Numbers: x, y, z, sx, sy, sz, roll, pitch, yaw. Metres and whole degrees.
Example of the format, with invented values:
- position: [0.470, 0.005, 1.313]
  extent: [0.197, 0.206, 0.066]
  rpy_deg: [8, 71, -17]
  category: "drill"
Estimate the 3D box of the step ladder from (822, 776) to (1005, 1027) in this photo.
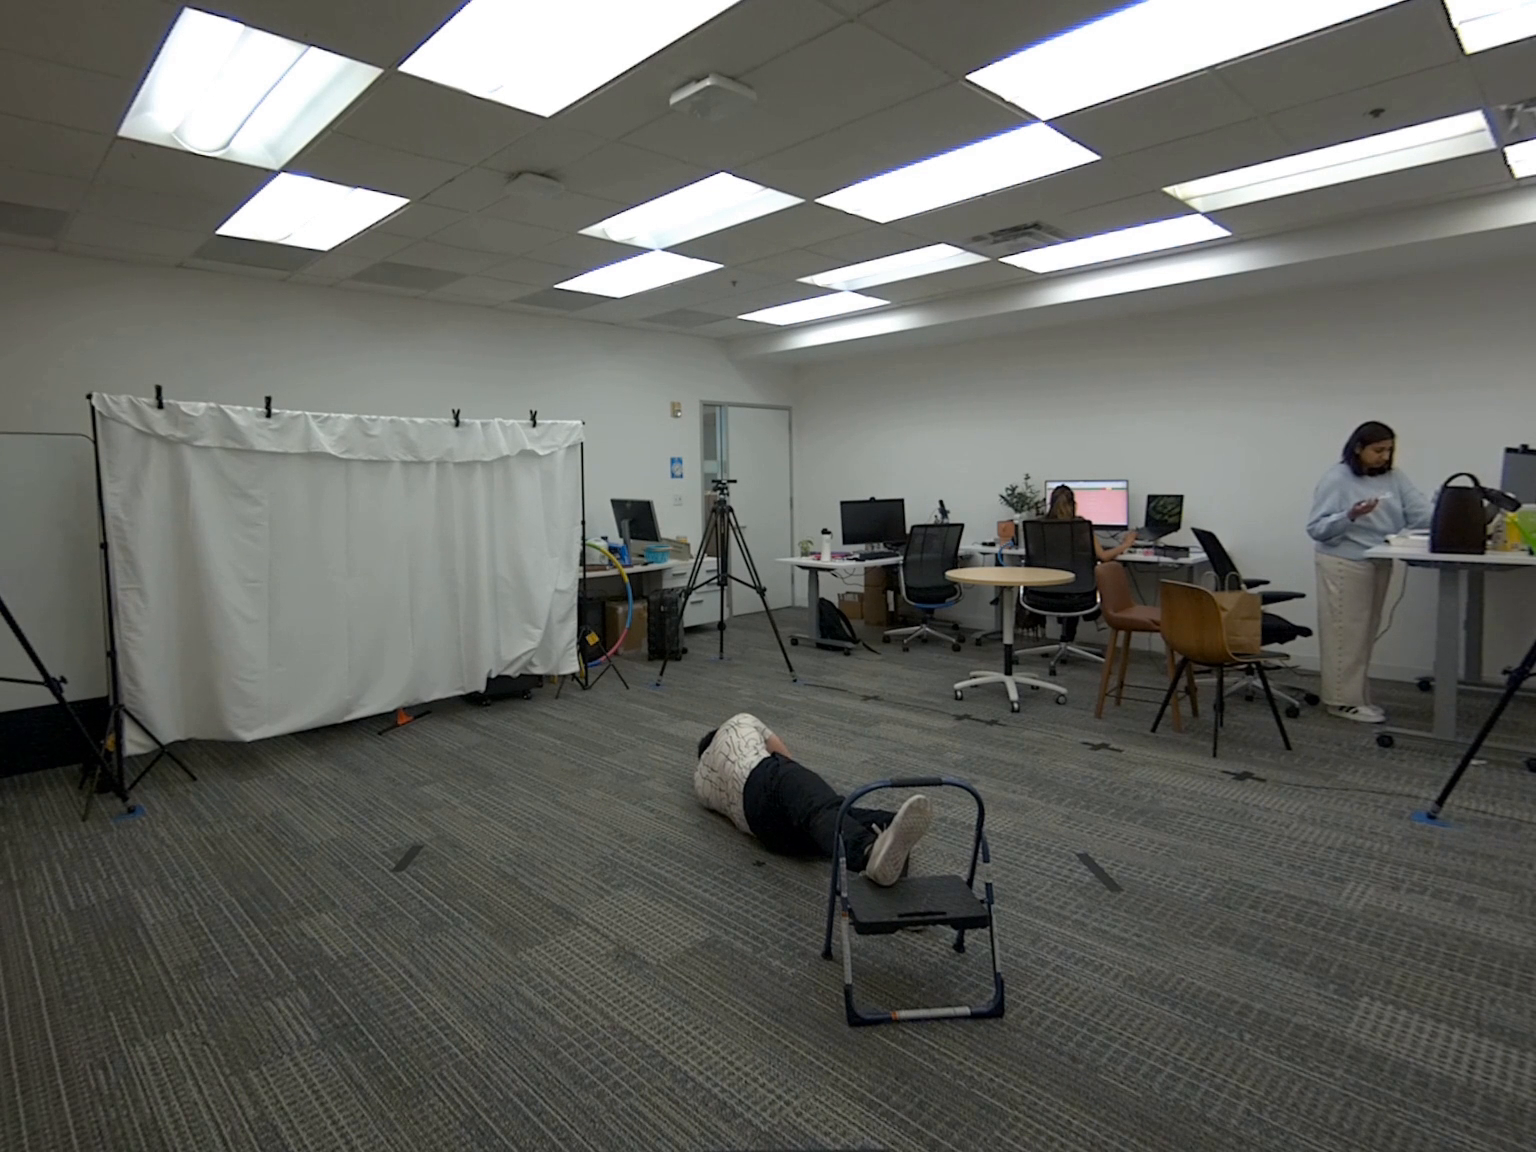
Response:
- position: [0.391, 0.831, 2.335]
  extent: [0.428, 0.604, 0.352]
  rpy_deg: [-2, 4, -6]
  category: "step ladder"
